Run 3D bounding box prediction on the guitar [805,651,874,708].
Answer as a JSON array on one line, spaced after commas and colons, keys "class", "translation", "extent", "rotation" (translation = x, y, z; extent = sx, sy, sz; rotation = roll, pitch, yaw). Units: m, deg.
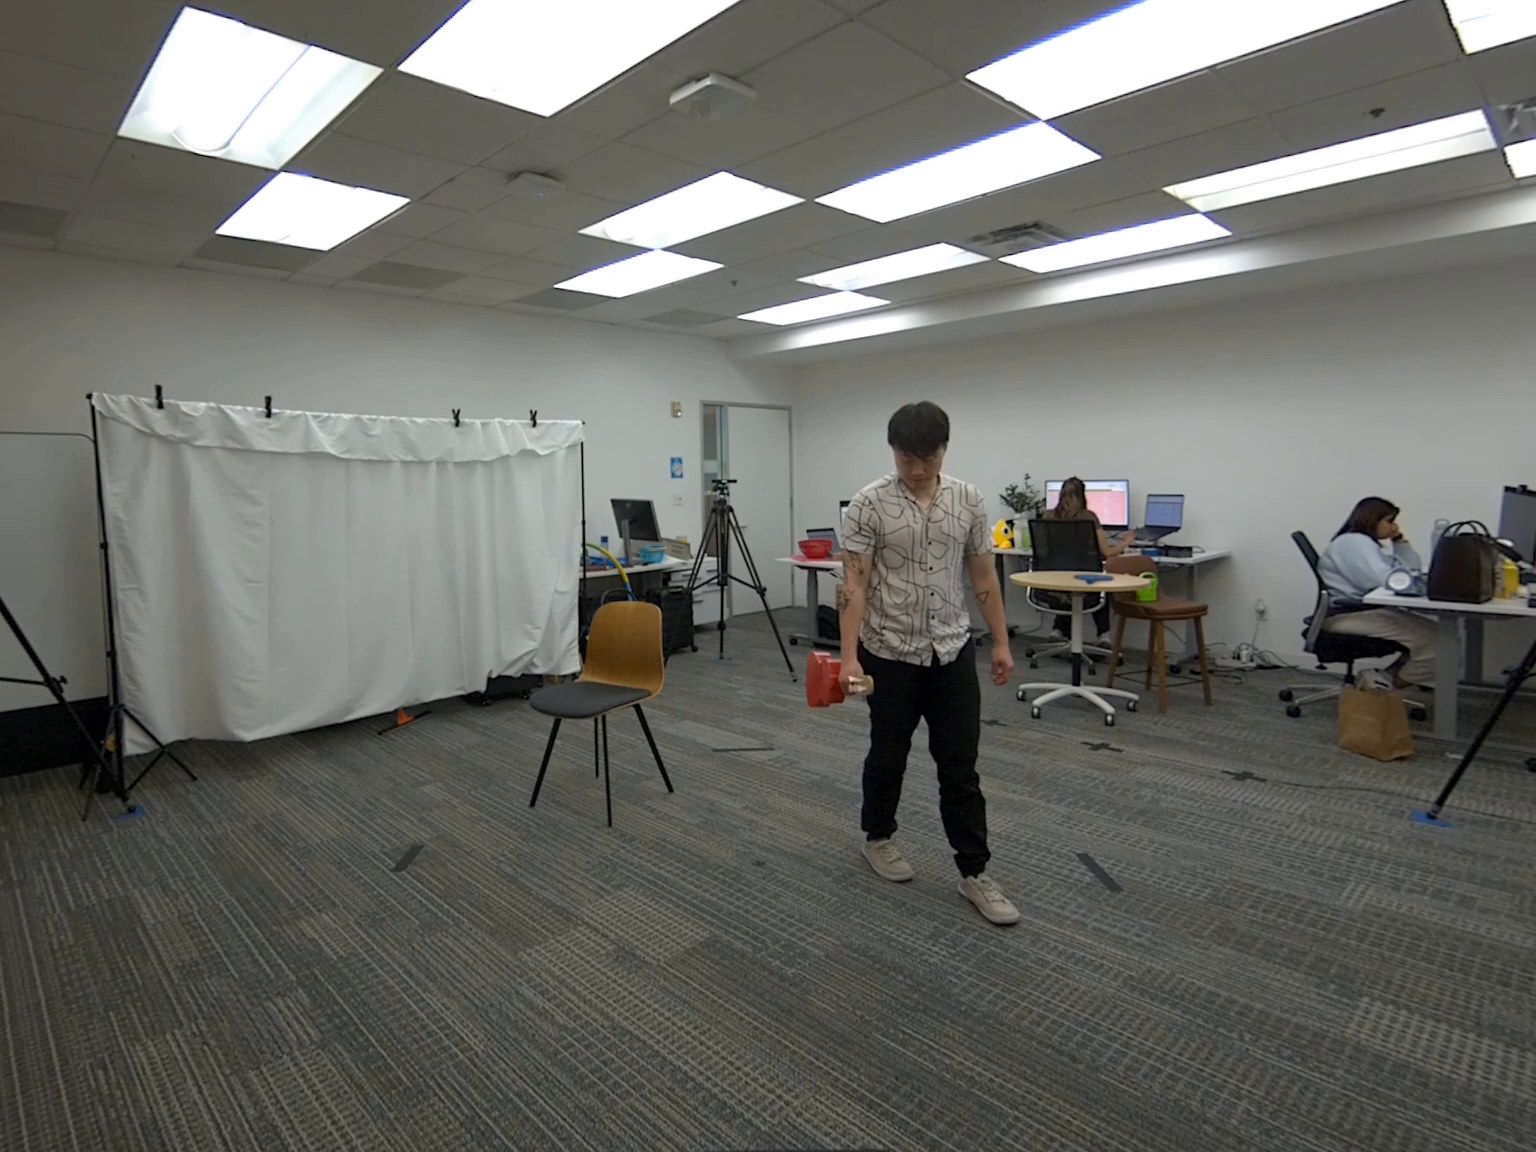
[{"class": "guitar", "translation": [0.237, 0.319, 2.809], "extent": [0.070, 0.195, 0.496], "rotation": [5, -14, -11]}]
